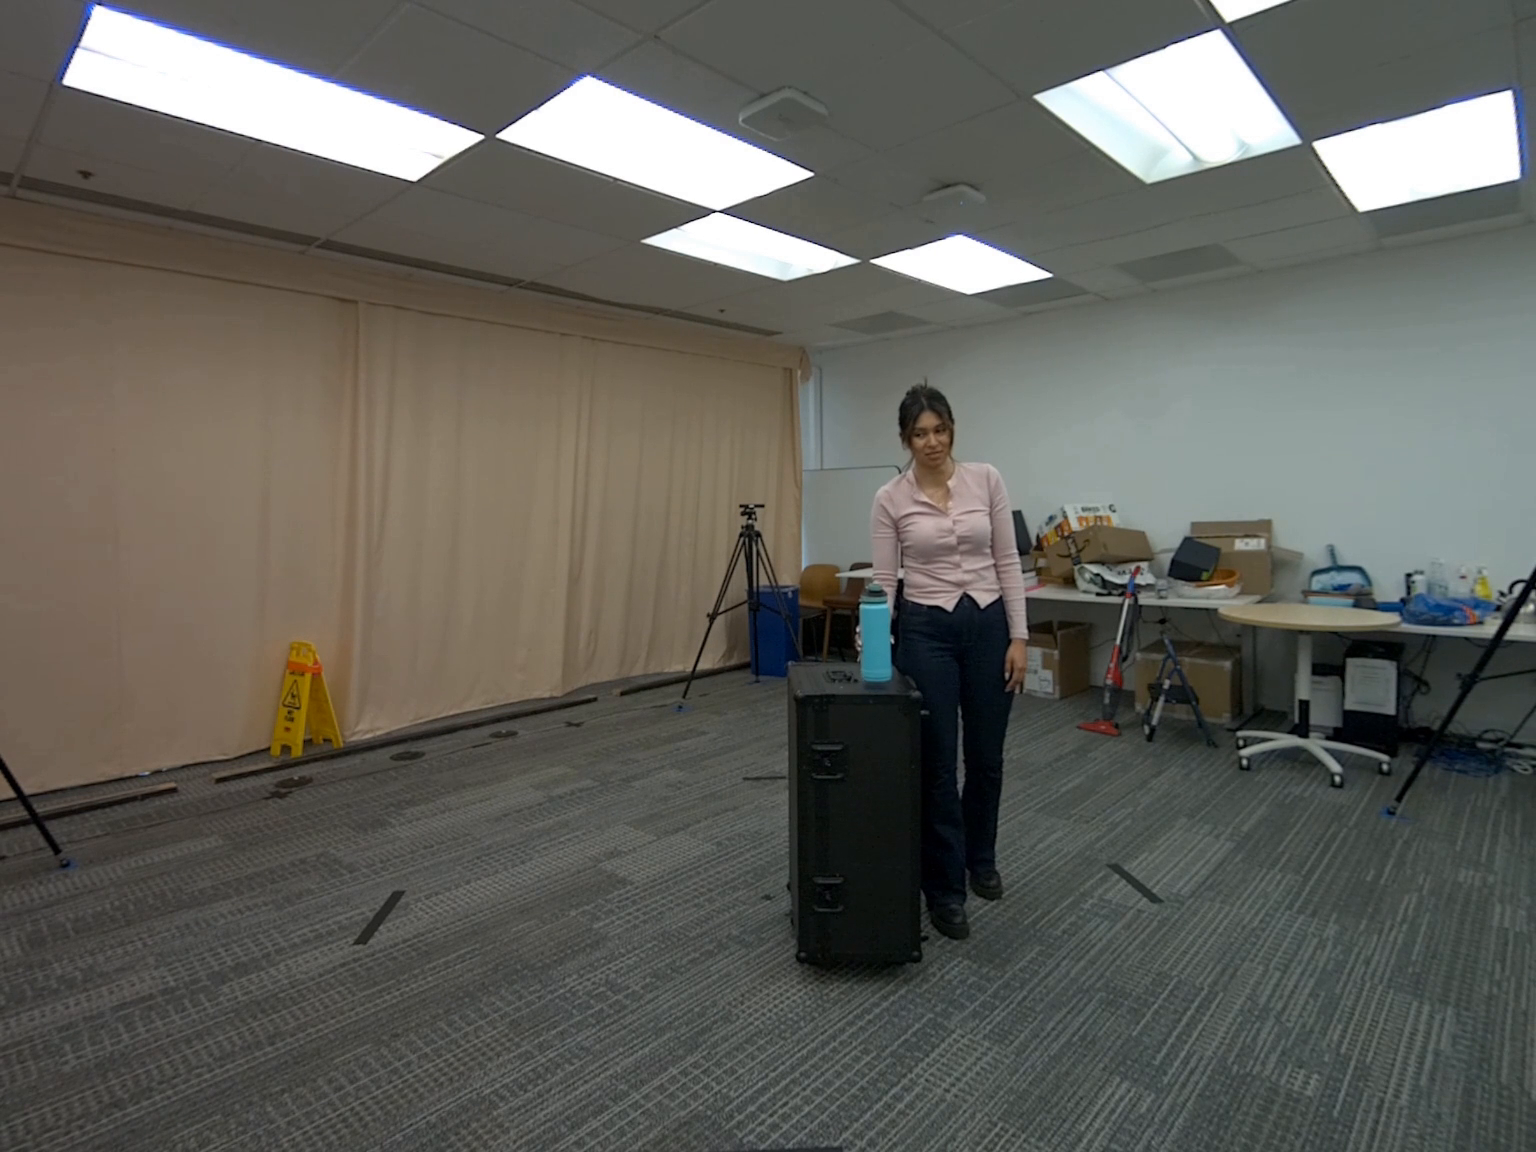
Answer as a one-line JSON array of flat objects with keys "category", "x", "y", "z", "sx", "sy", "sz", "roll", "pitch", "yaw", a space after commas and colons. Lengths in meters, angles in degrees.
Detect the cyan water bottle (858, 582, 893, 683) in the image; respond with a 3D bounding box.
[{"category": "cyan water bottle", "x": 0.322, "y": 0.165, "z": 2.498, "sx": 0.092, "sy": 0.283, "sz": 0.092, "roll": -4, "pitch": 0, "yaw": -2}]
